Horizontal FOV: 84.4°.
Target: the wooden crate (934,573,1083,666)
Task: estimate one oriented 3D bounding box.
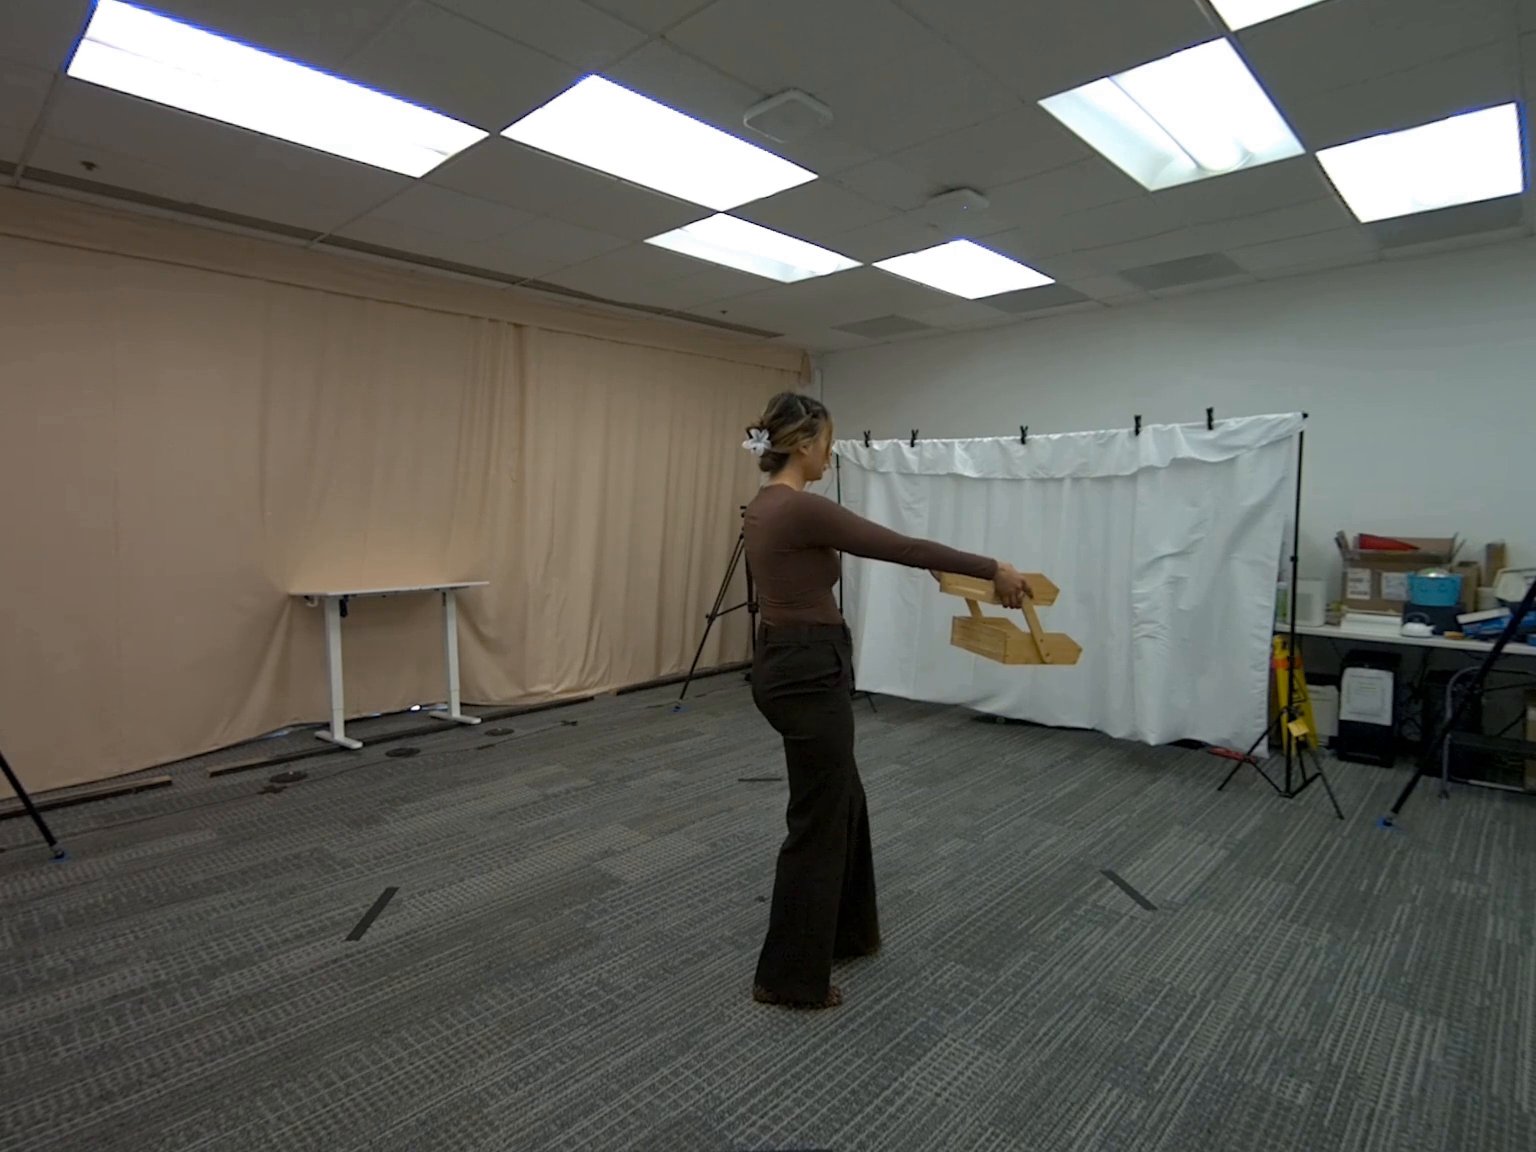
[{"bbox_3d":[0.726,0.109,2.509,0.300,0.272,0.328,3,5,-7],"label":"wooden crate"}]
